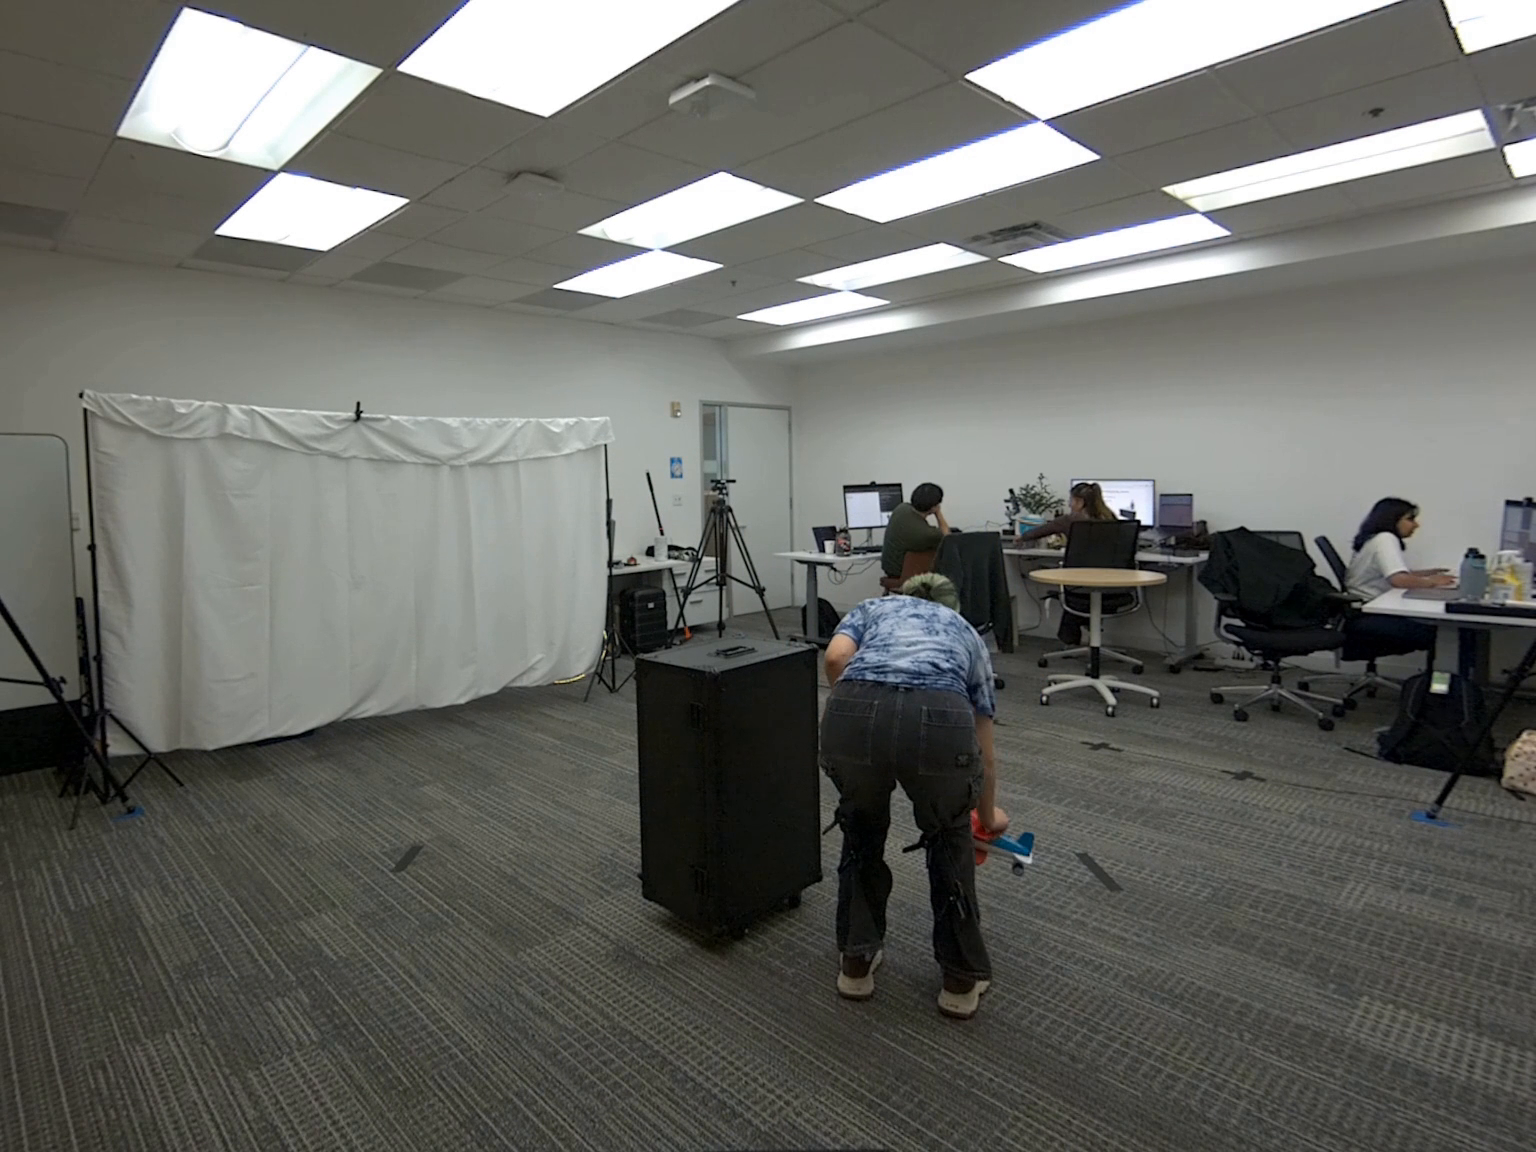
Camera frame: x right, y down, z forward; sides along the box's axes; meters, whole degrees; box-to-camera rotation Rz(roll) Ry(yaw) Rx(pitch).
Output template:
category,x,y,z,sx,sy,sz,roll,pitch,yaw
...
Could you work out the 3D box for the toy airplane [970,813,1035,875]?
category,x,y,z,sx,sy,sz,roll,pitch,yaw
toy airplane,0.672,0.810,2.635,0.257,0.156,0.254,1,2,-10
